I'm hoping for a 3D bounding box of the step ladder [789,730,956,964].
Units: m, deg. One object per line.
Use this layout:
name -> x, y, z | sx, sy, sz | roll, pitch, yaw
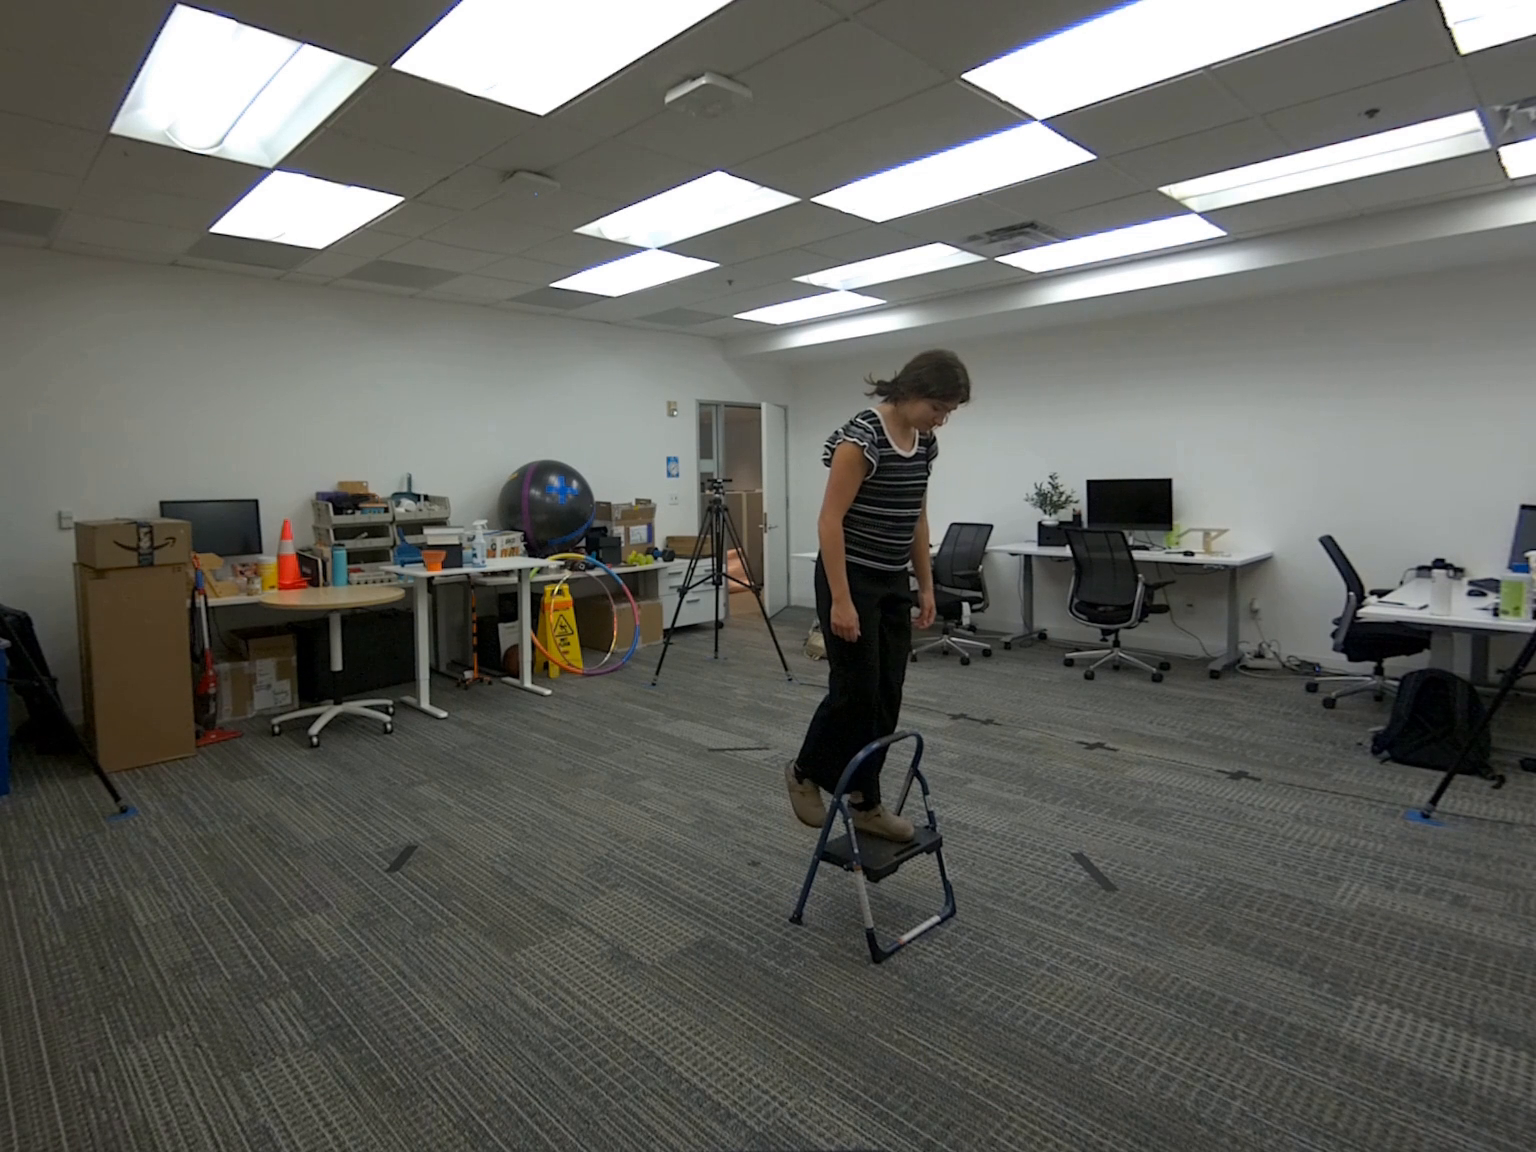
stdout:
step ladder -> 0.334, 0.785, 2.690 | 0.360, 0.604, 0.419 | 4, 6, 45
